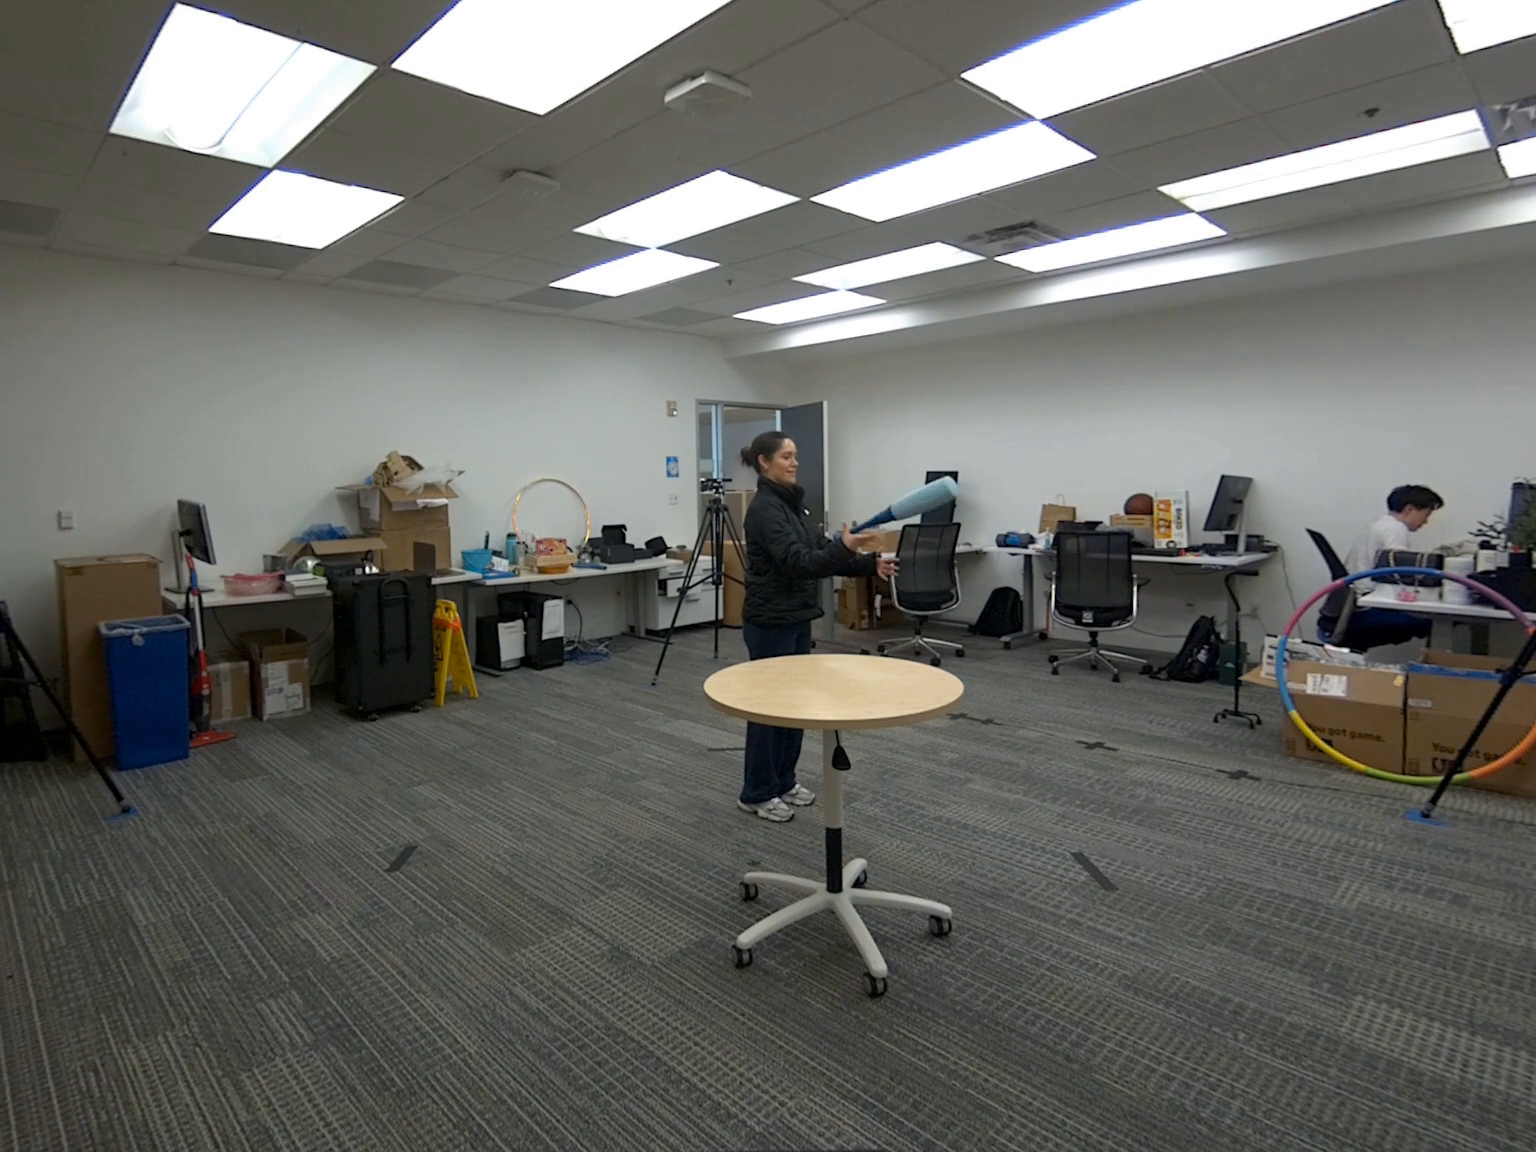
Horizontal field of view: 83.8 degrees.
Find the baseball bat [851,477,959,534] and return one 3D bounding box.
[{"bbox_3d":[0.463,-0.196,3.233,0.551,0.090,0.087,-24,-11,39],"label":"baseball bat"}]
